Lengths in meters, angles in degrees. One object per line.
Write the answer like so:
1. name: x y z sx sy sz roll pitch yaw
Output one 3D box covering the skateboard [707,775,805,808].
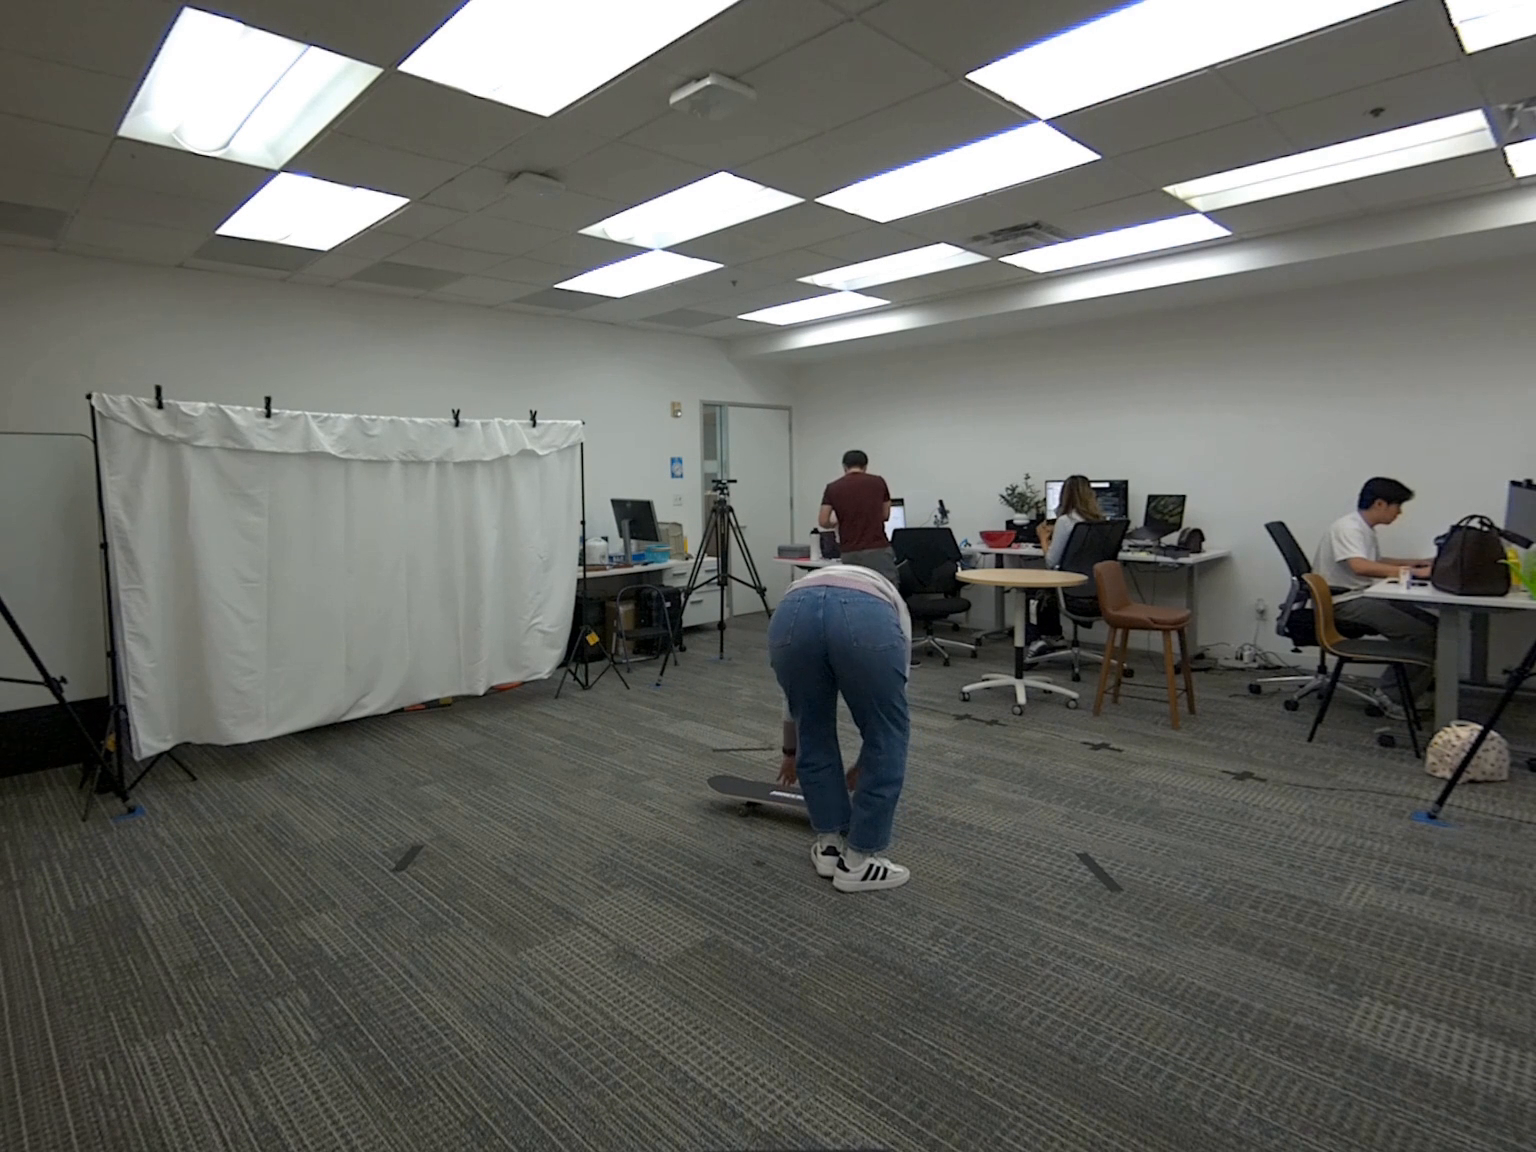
1. skateboard: 0.108 0.939 3.524 0.804 0.110 0.190 2 7 26
